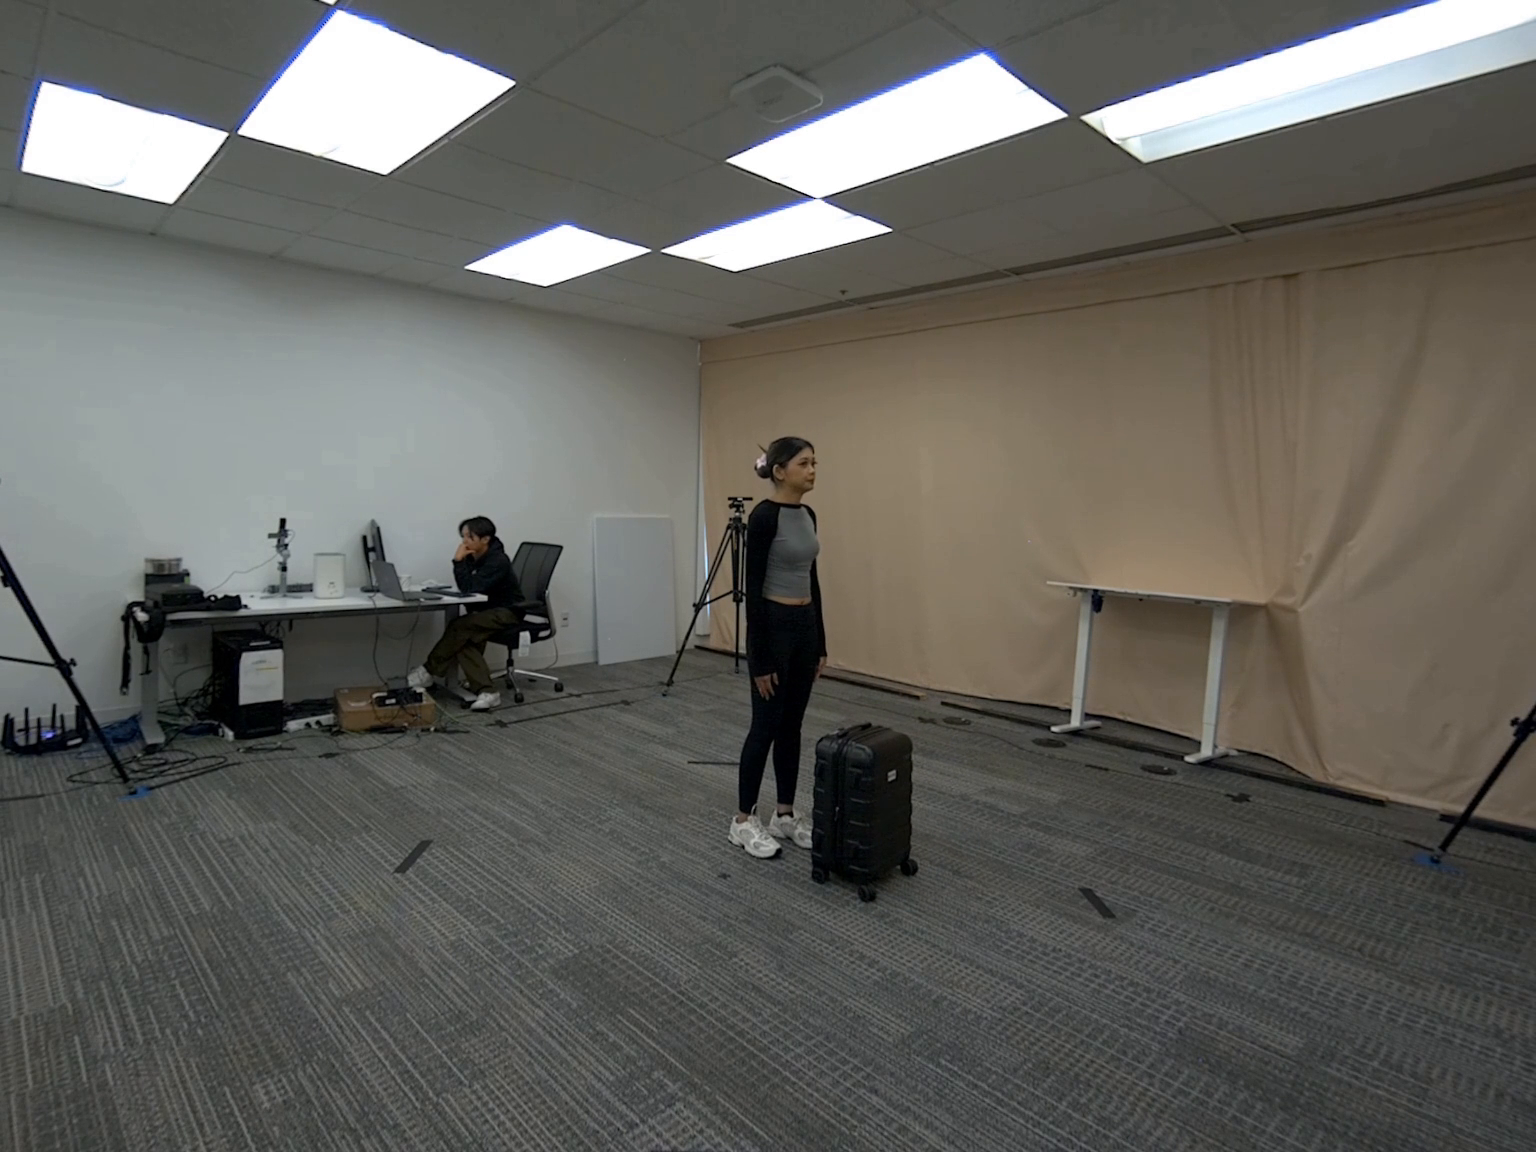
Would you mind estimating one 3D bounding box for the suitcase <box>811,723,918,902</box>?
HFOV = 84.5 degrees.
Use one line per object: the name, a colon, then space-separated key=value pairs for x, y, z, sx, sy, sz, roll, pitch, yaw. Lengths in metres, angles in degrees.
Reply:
suitcase: x=0.350 y=0.841 z=3.118 sx=0.254 sy=0.548 sz=0.367 roll=3 pitch=3 yaw=41
